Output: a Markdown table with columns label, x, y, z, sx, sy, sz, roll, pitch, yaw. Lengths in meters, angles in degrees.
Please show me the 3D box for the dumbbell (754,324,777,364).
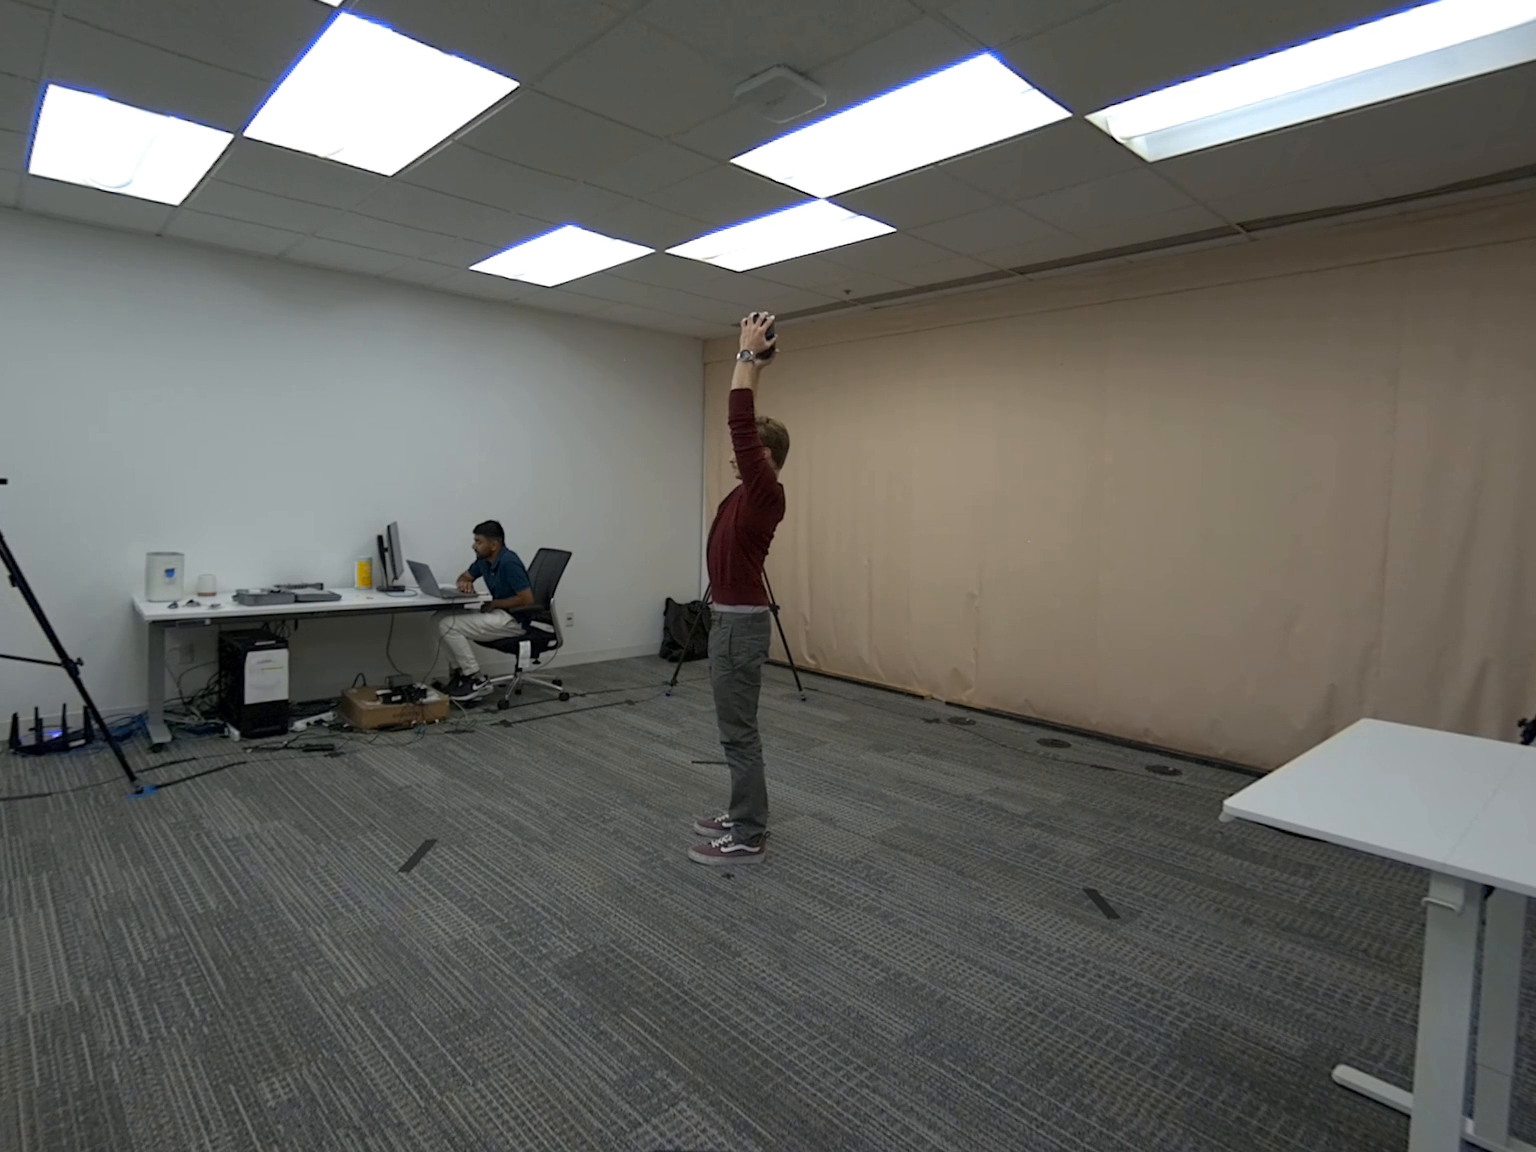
| label | x | y | z | sx | sy | sz | roll | pitch | yaw |
| --- | --- | --- | --- | --- | --- | --- | --- | --- | --- |
| dumbbell | -0.032 | -0.914 | 3.266 | 0.123 | 0.109 | 0.293 | -32 | 1 | 4 |
